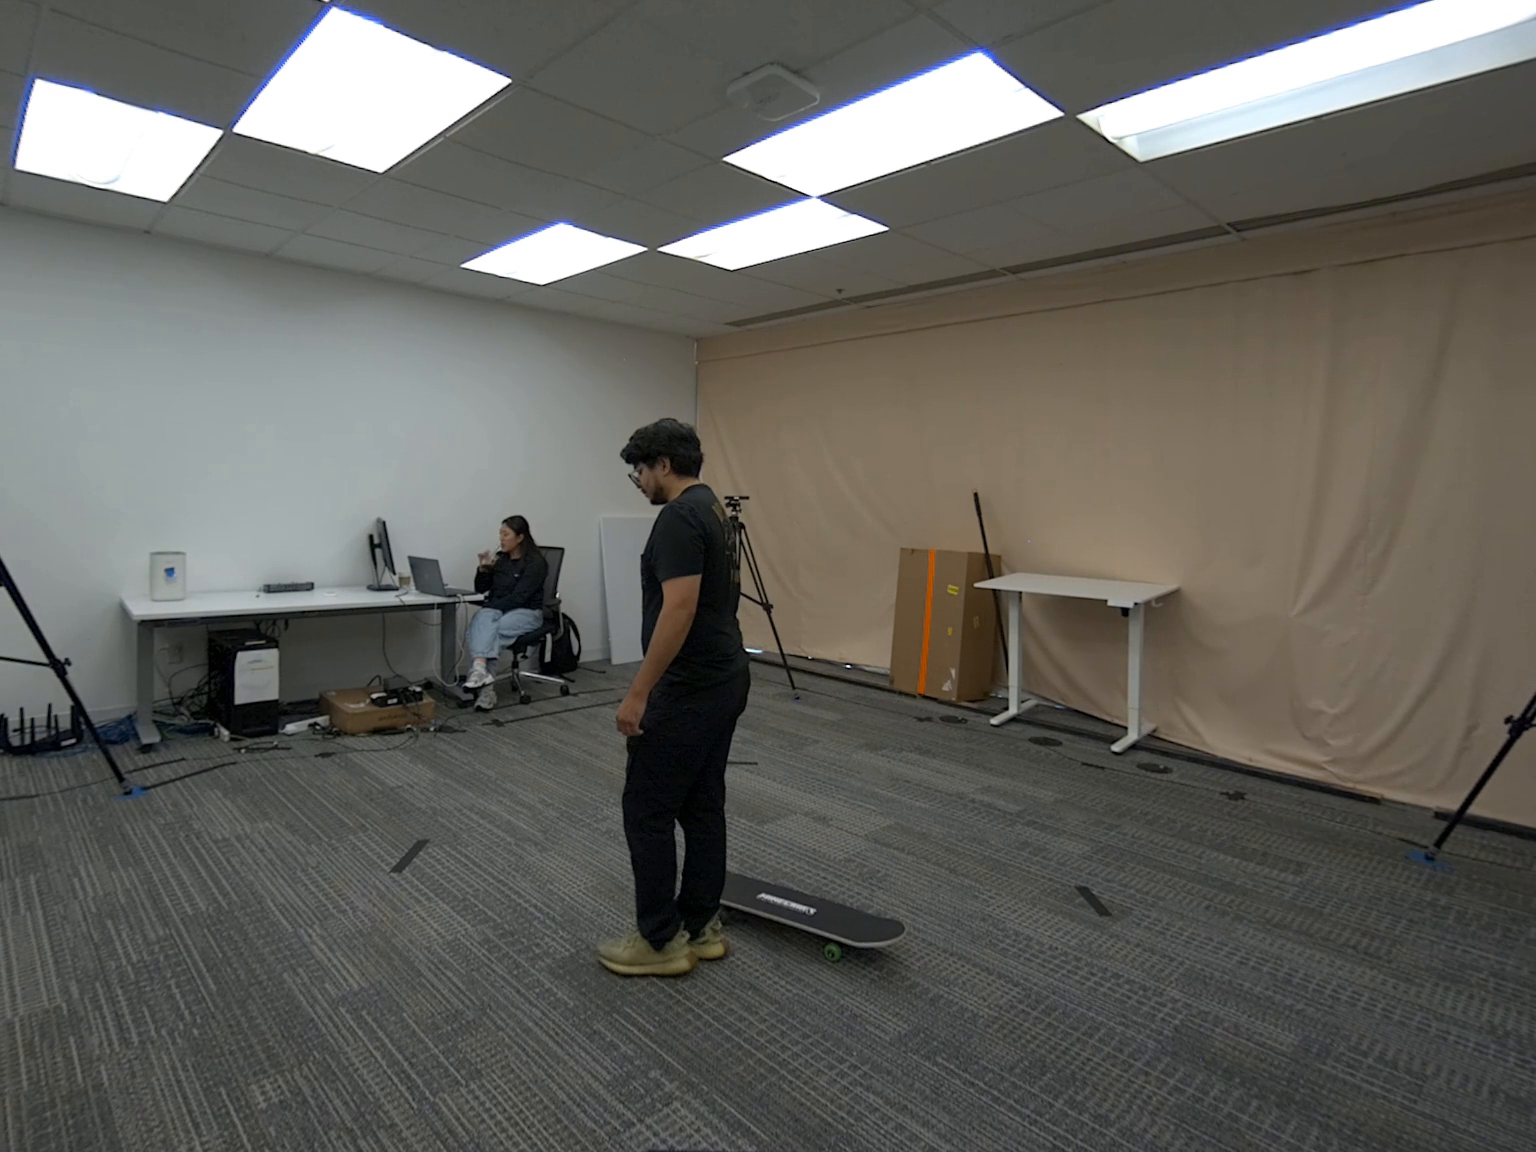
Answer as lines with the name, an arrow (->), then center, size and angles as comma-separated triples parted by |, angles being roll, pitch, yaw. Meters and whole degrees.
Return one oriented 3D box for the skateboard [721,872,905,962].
skateboard -> 0.051, 1.090, 2.709 | 0.803, 0.110, 0.190 | 4, 6, 31
